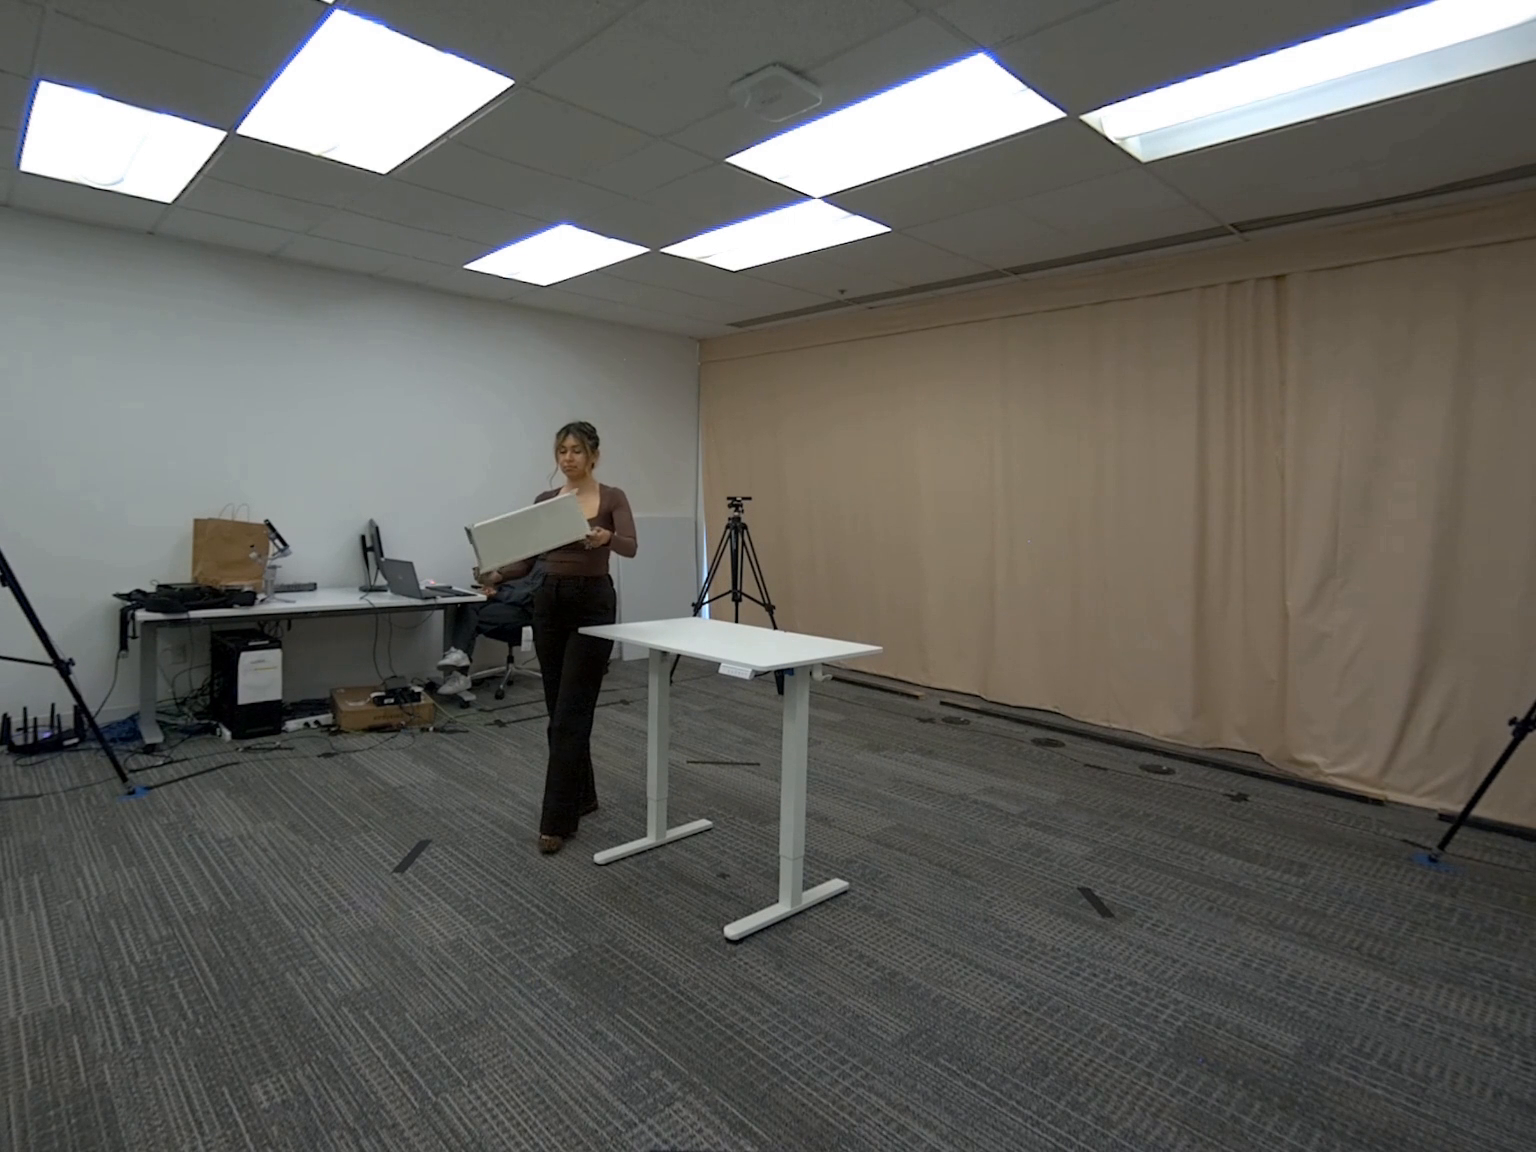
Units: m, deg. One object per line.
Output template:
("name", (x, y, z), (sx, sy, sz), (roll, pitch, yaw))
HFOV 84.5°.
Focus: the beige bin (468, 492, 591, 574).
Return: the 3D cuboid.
("beige bin", (-0.888, -0.138, 3.108), (0.419, 0.190, 0.379), (-21, -2, -16))
